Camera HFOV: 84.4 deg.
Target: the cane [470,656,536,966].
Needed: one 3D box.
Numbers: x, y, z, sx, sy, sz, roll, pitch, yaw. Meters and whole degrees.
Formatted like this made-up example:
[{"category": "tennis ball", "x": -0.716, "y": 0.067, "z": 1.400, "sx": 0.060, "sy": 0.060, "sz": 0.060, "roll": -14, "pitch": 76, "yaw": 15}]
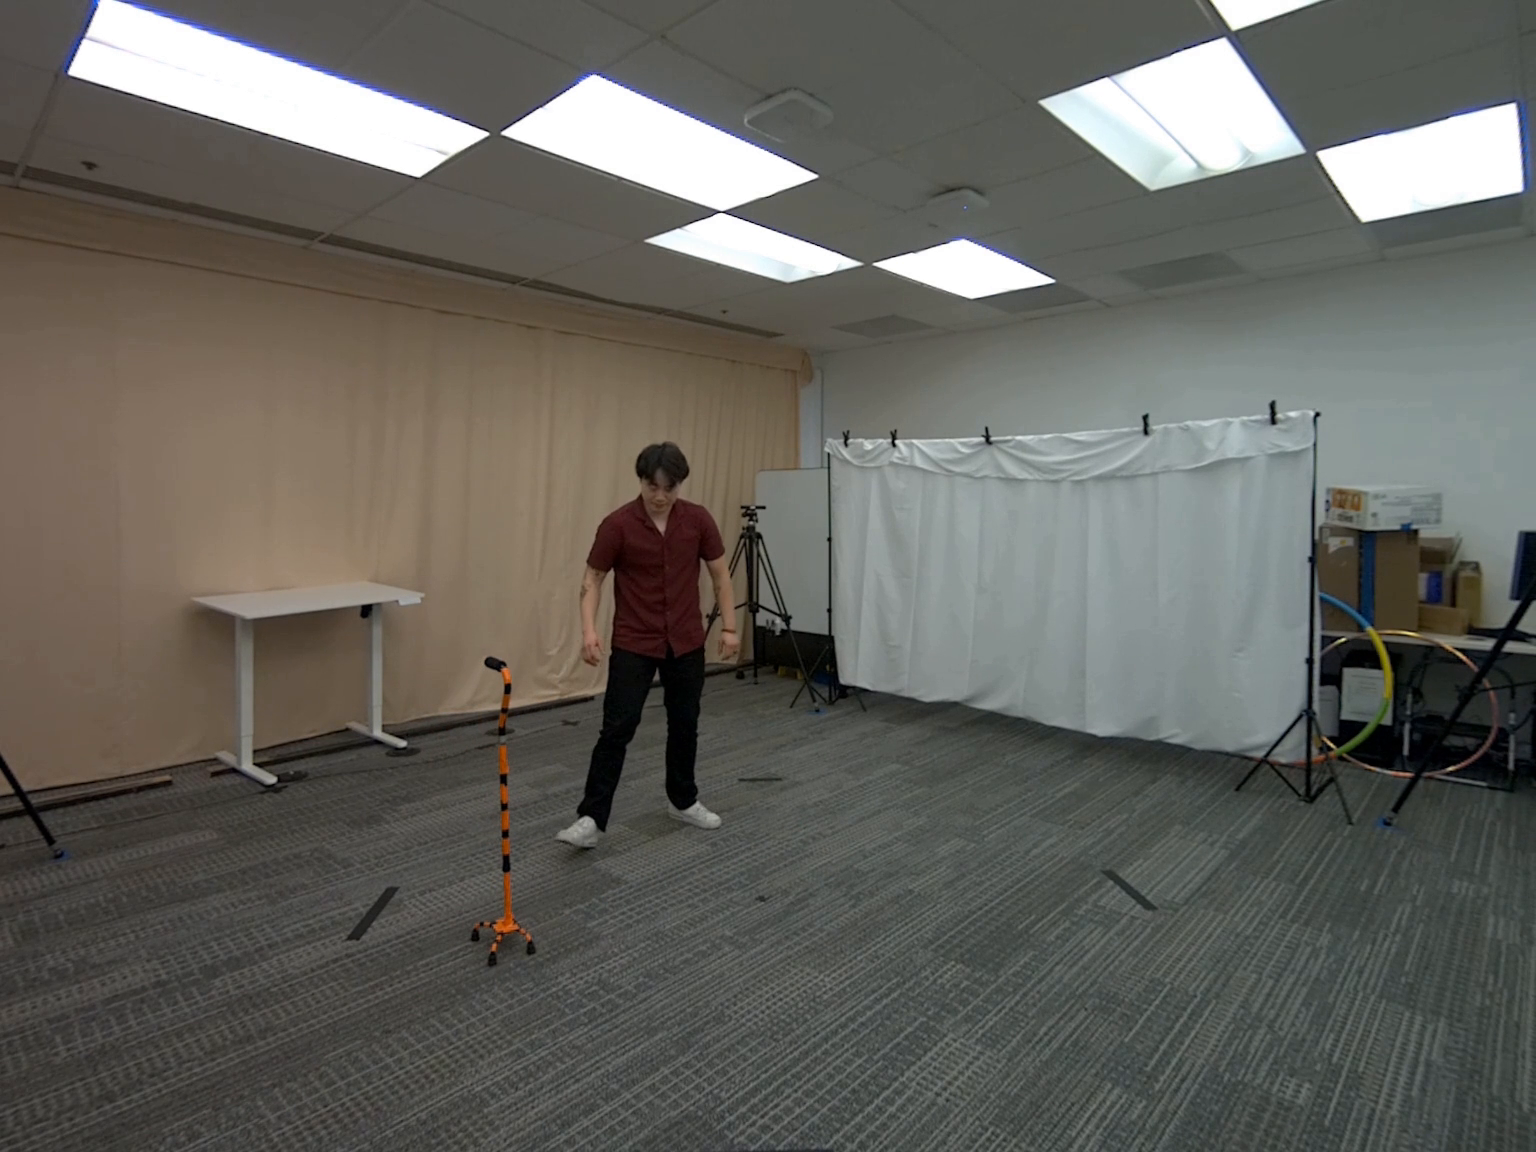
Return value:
[{"category": "cane", "x": -0.843, "y": 0.718, "z": 2.662, "sx": 0.147, "sy": 0.906, "sz": 0.213, "roll": -2, "pitch": 3, "yaw": -33}]
